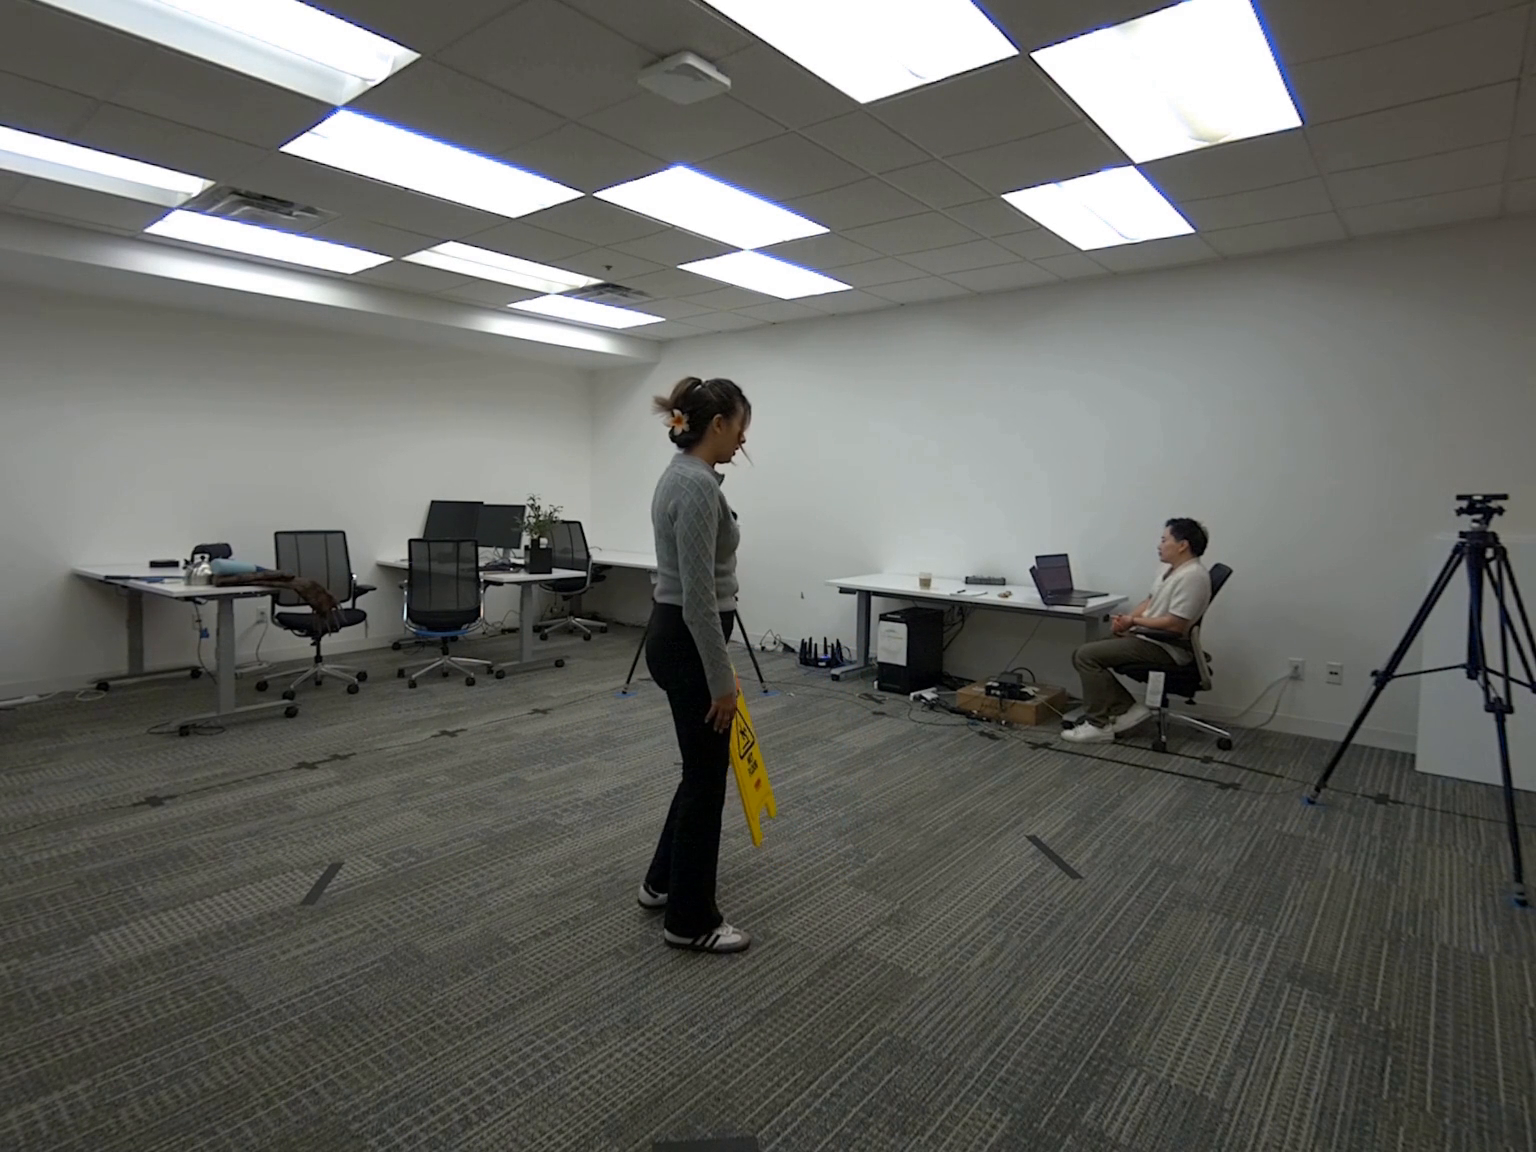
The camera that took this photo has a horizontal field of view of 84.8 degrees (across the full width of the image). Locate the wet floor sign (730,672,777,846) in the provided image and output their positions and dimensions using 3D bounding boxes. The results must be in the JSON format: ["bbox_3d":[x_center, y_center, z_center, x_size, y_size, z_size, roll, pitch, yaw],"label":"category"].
[{"bbox_3d":[-0.167,0.569,2.982,0.295,0.640,0.280,-1,9,16],"label":"wet floor sign"}]
